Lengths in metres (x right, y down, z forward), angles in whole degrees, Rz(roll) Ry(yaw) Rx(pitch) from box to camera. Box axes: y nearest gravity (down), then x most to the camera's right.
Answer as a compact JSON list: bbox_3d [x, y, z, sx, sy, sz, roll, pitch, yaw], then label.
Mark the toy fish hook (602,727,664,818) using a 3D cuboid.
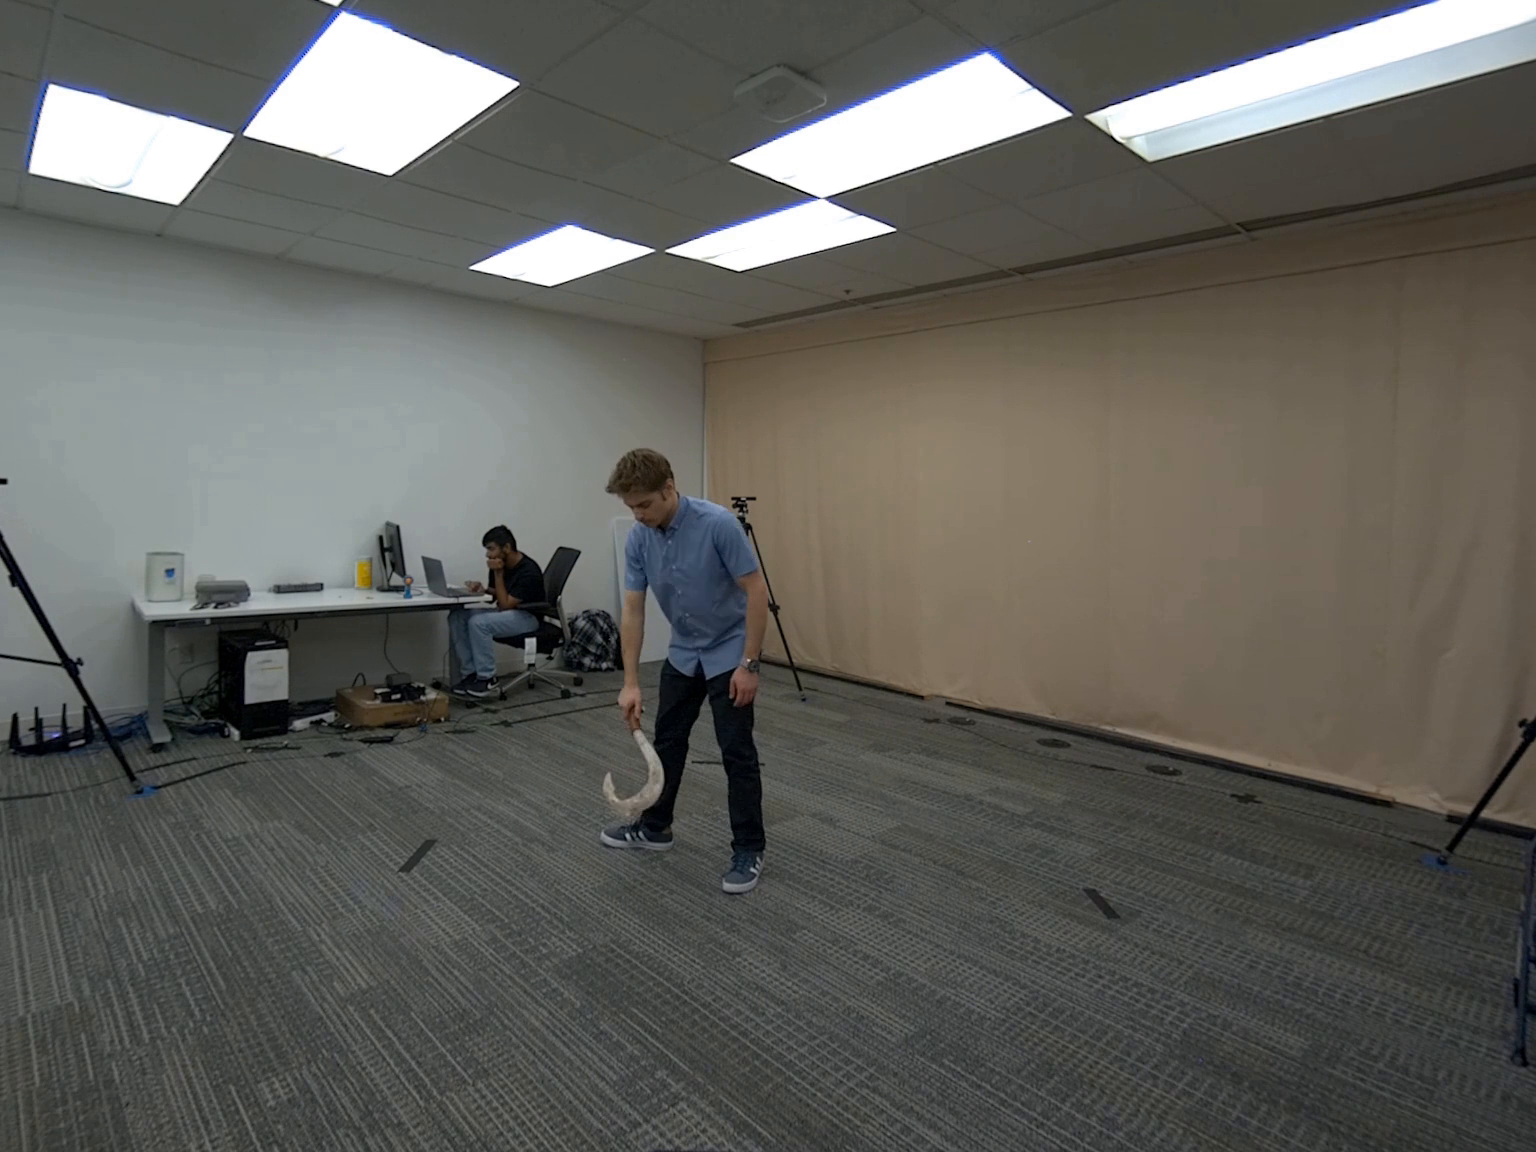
[{"bbox_3d":[-0.521,0.622,2.972,0.225,0.047,0.521,-24,42,4],"label":"toy fish hook"}]
